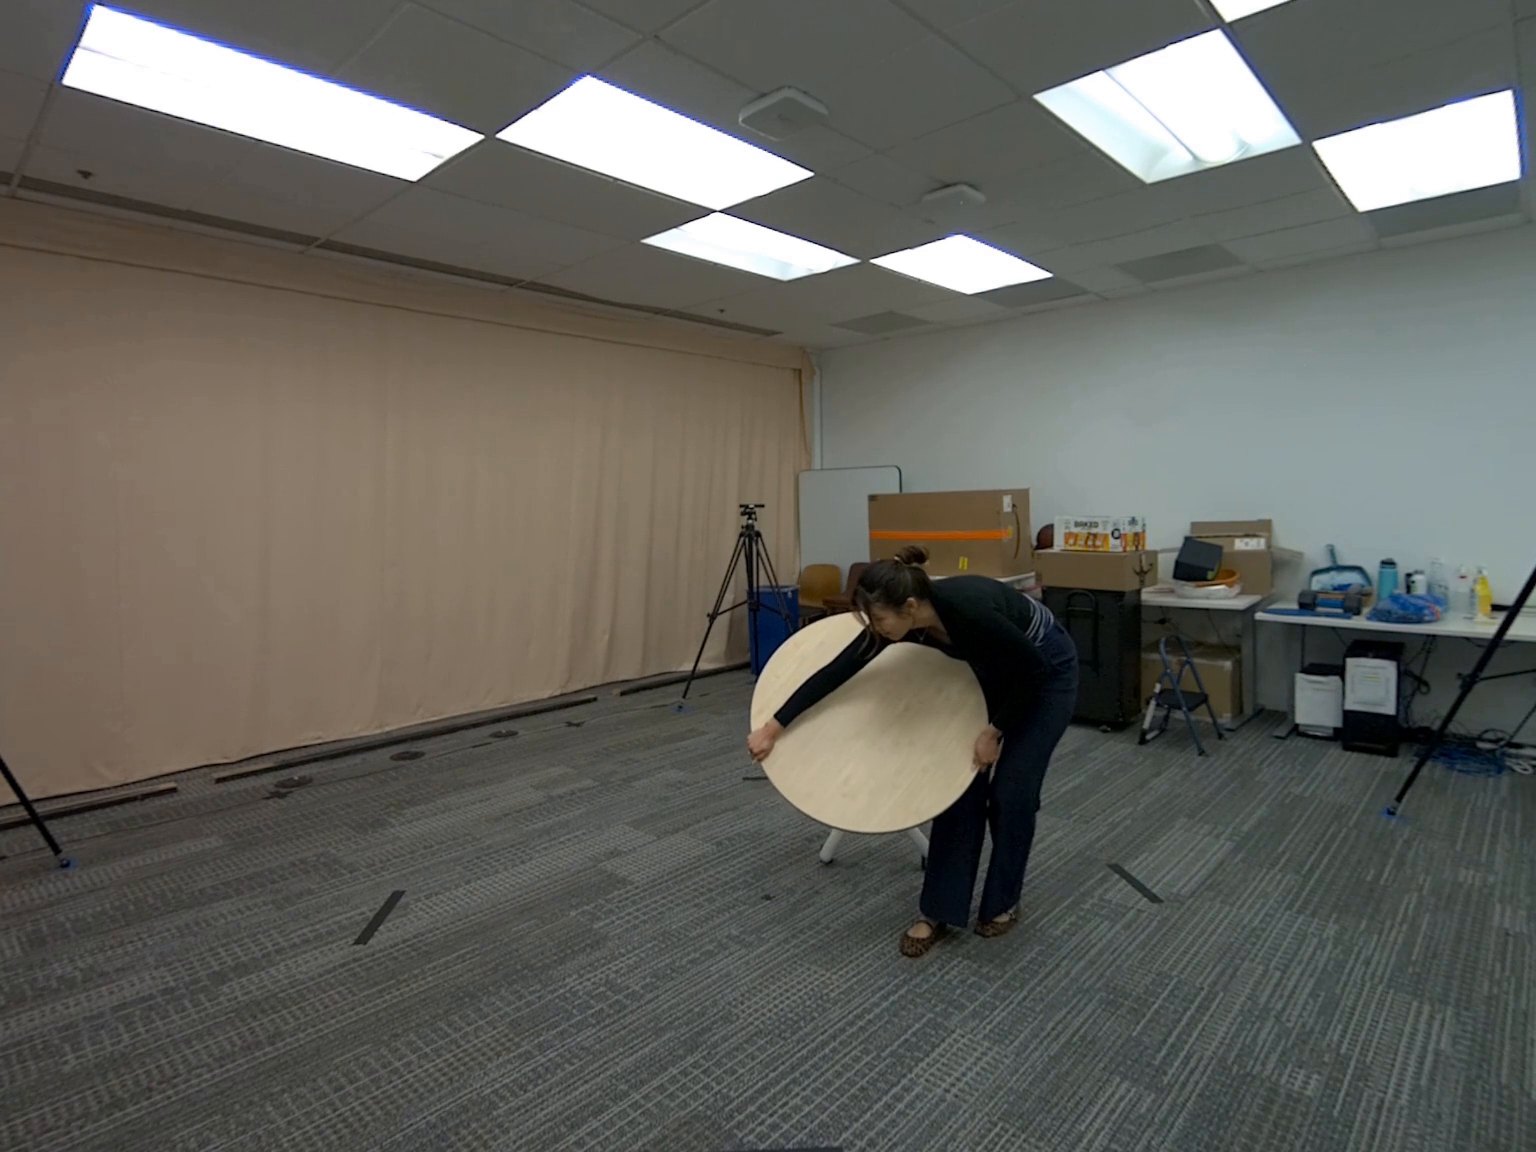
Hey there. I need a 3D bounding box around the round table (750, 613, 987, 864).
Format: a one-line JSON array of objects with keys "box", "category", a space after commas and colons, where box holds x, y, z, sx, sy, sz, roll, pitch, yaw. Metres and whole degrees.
[{"box": [0.368, 0.659, 3.091, 0.773, 0.774, 0.774, 0, -33, 10], "category": "round table"}]
